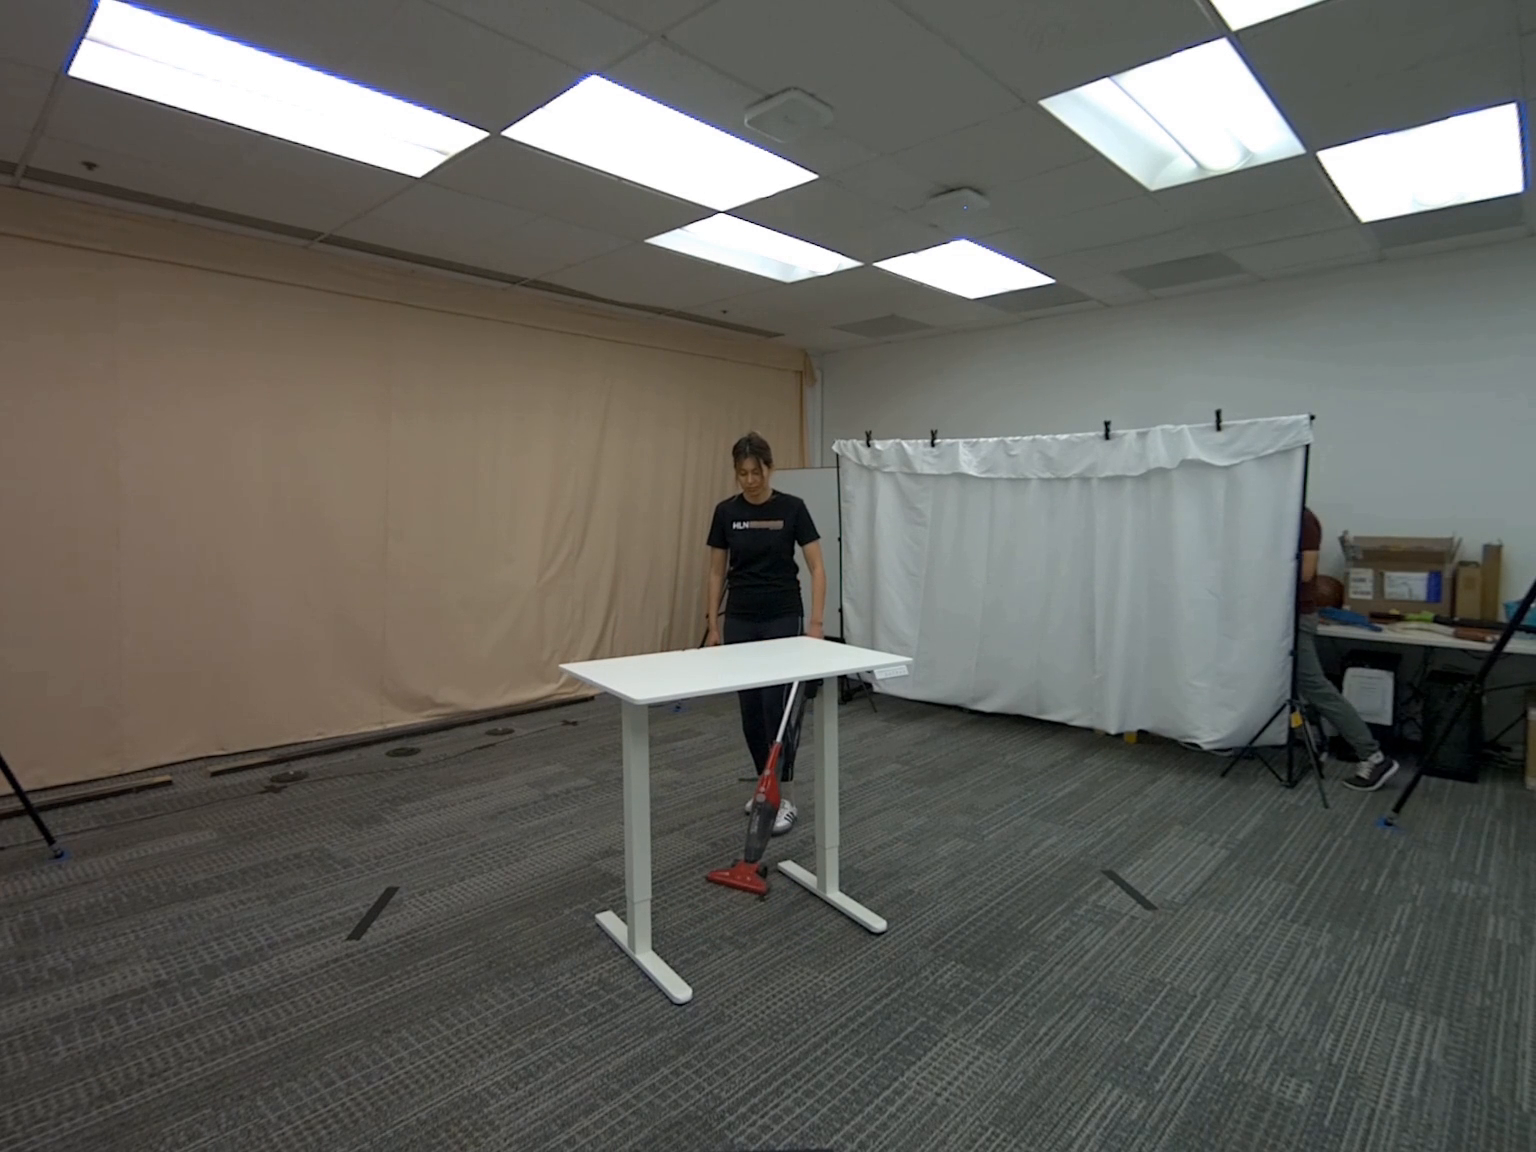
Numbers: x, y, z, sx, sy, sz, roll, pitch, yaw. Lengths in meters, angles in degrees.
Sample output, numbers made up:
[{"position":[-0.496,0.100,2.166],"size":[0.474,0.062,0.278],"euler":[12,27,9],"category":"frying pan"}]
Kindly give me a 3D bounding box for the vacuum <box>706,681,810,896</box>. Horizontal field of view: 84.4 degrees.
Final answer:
[{"position":[0.049,0.706,3.387],"size":[0.259,1.054,0.140],"euler":[7,-35,21],"category":"vacuum"}]
